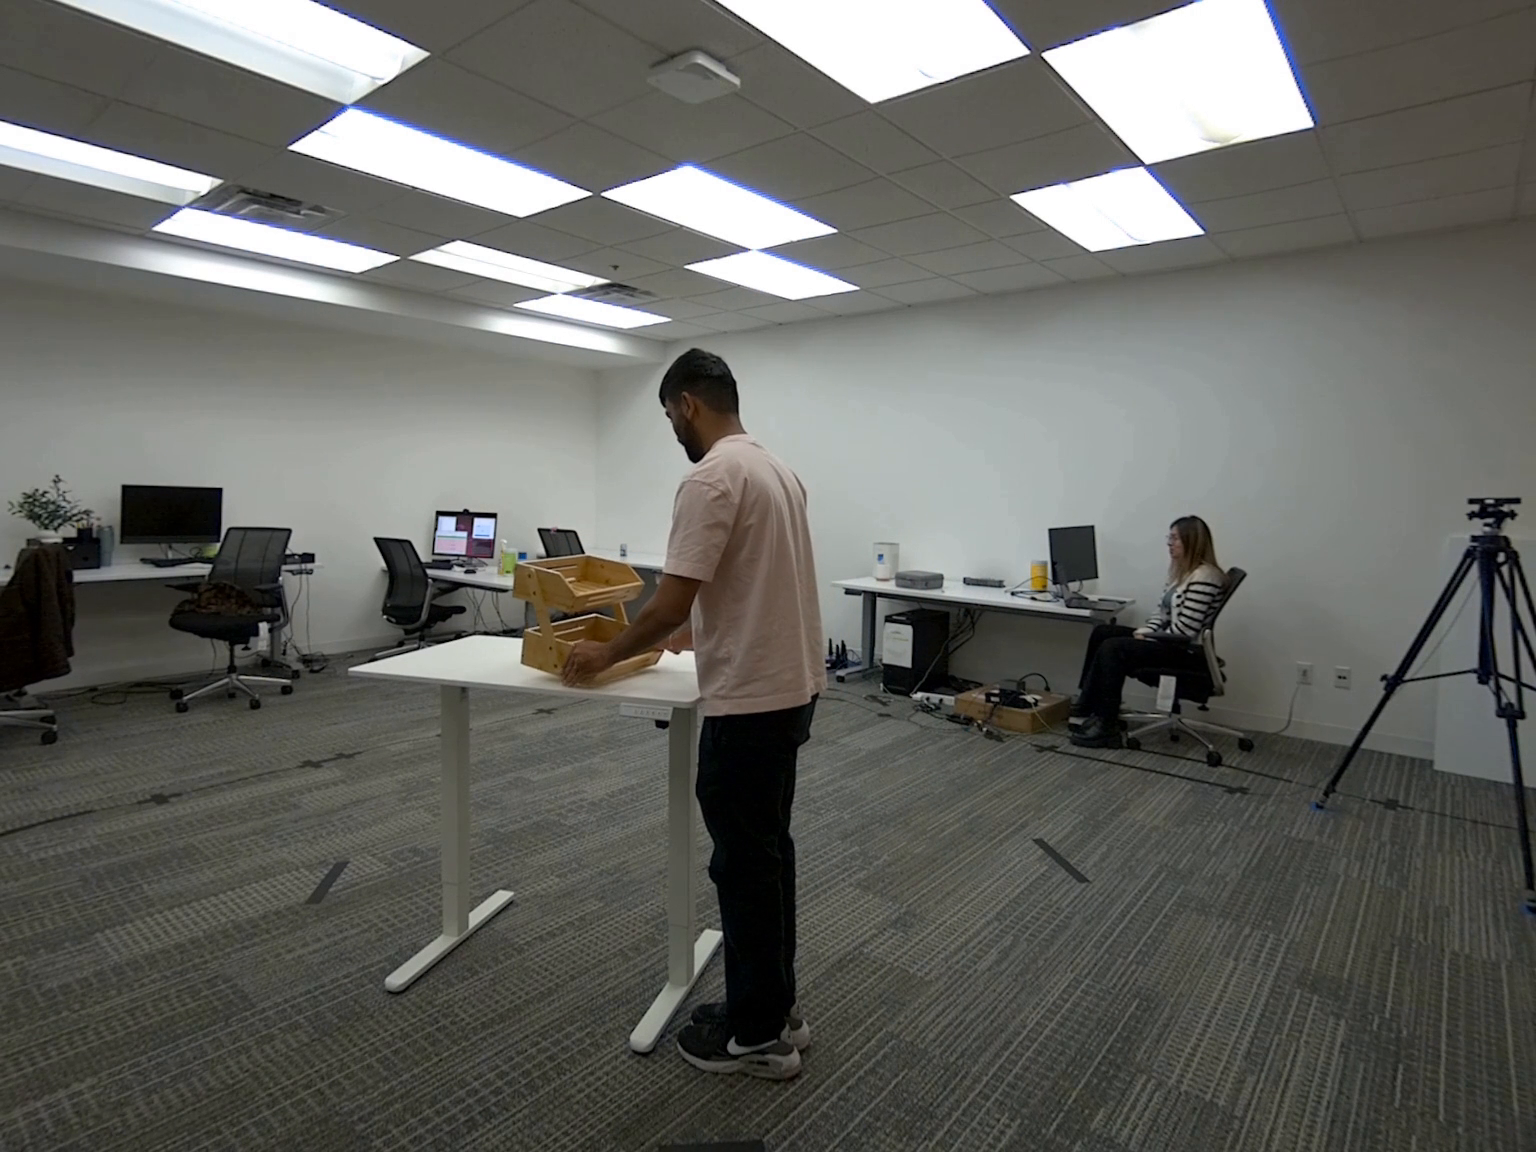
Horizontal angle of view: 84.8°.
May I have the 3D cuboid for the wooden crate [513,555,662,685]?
[{"bbox_3d":[-0.479,0.104,2.277,0.311,0.271,0.317,11,9,27],"label":"wooden crate"}]
